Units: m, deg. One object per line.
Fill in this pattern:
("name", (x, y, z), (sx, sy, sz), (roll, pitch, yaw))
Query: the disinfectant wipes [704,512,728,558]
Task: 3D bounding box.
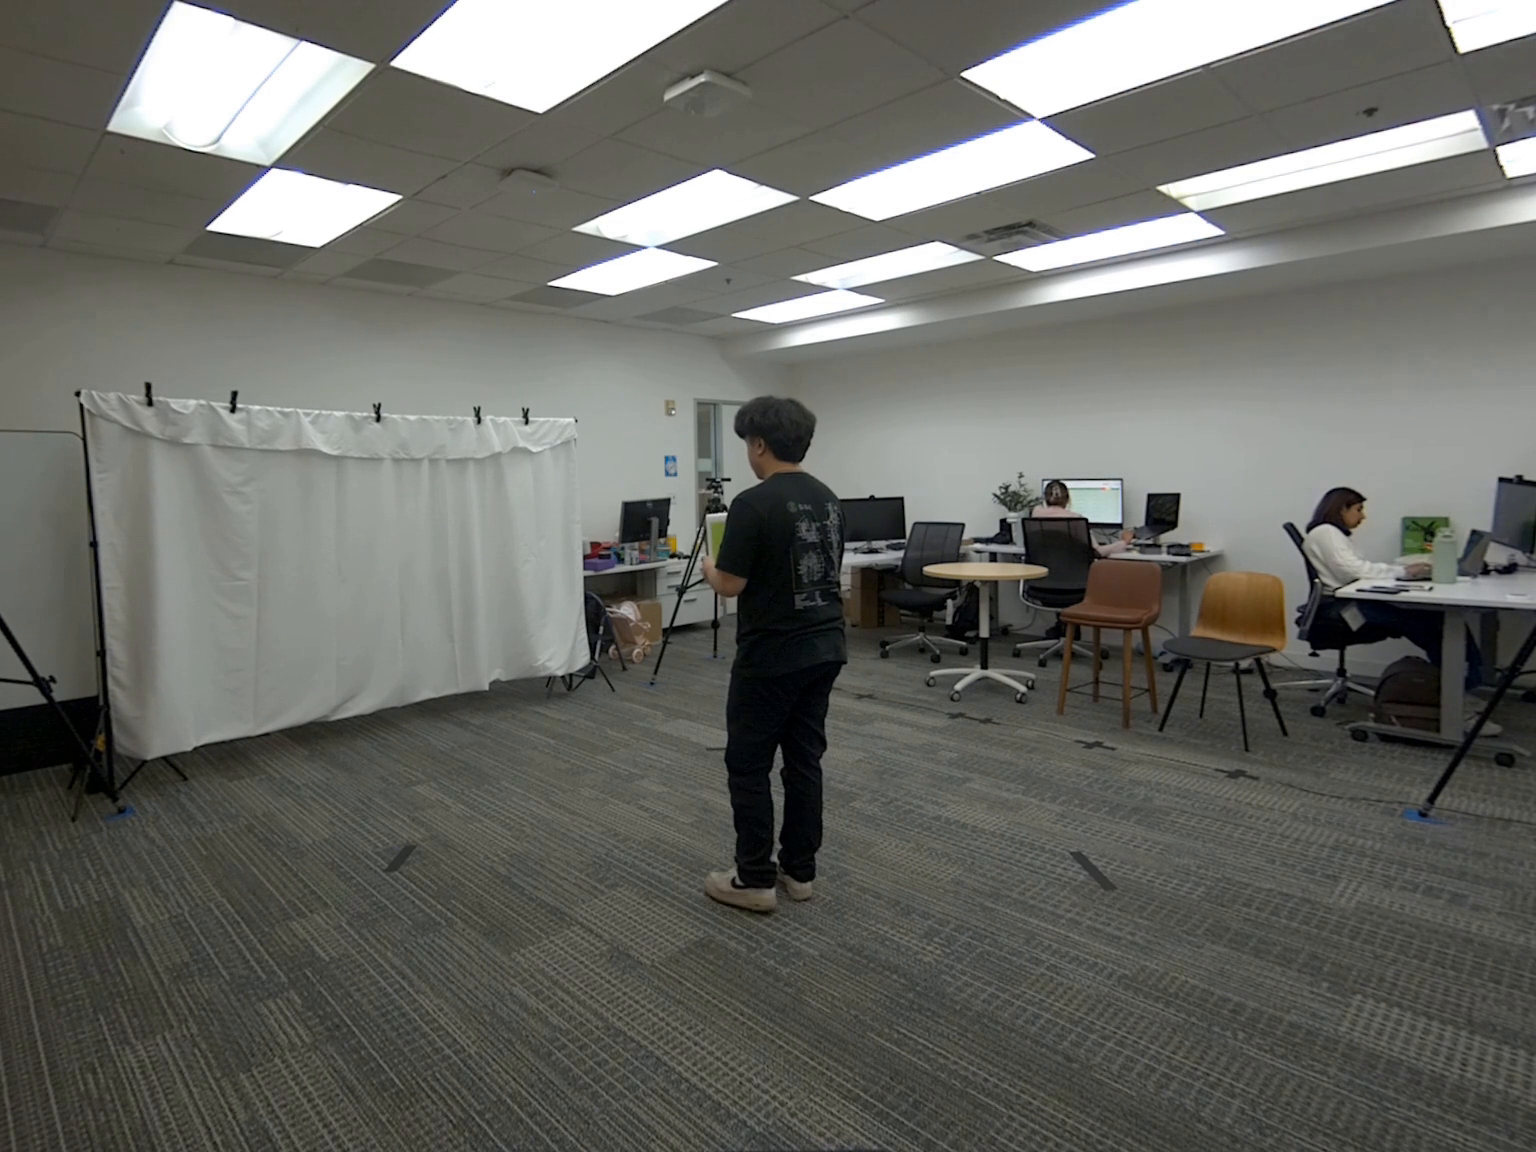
("disinfectant wipes", (-0.148, -0.114, 3.037), (0.118, 0.217, 0.118), (-5, 3, -1))
